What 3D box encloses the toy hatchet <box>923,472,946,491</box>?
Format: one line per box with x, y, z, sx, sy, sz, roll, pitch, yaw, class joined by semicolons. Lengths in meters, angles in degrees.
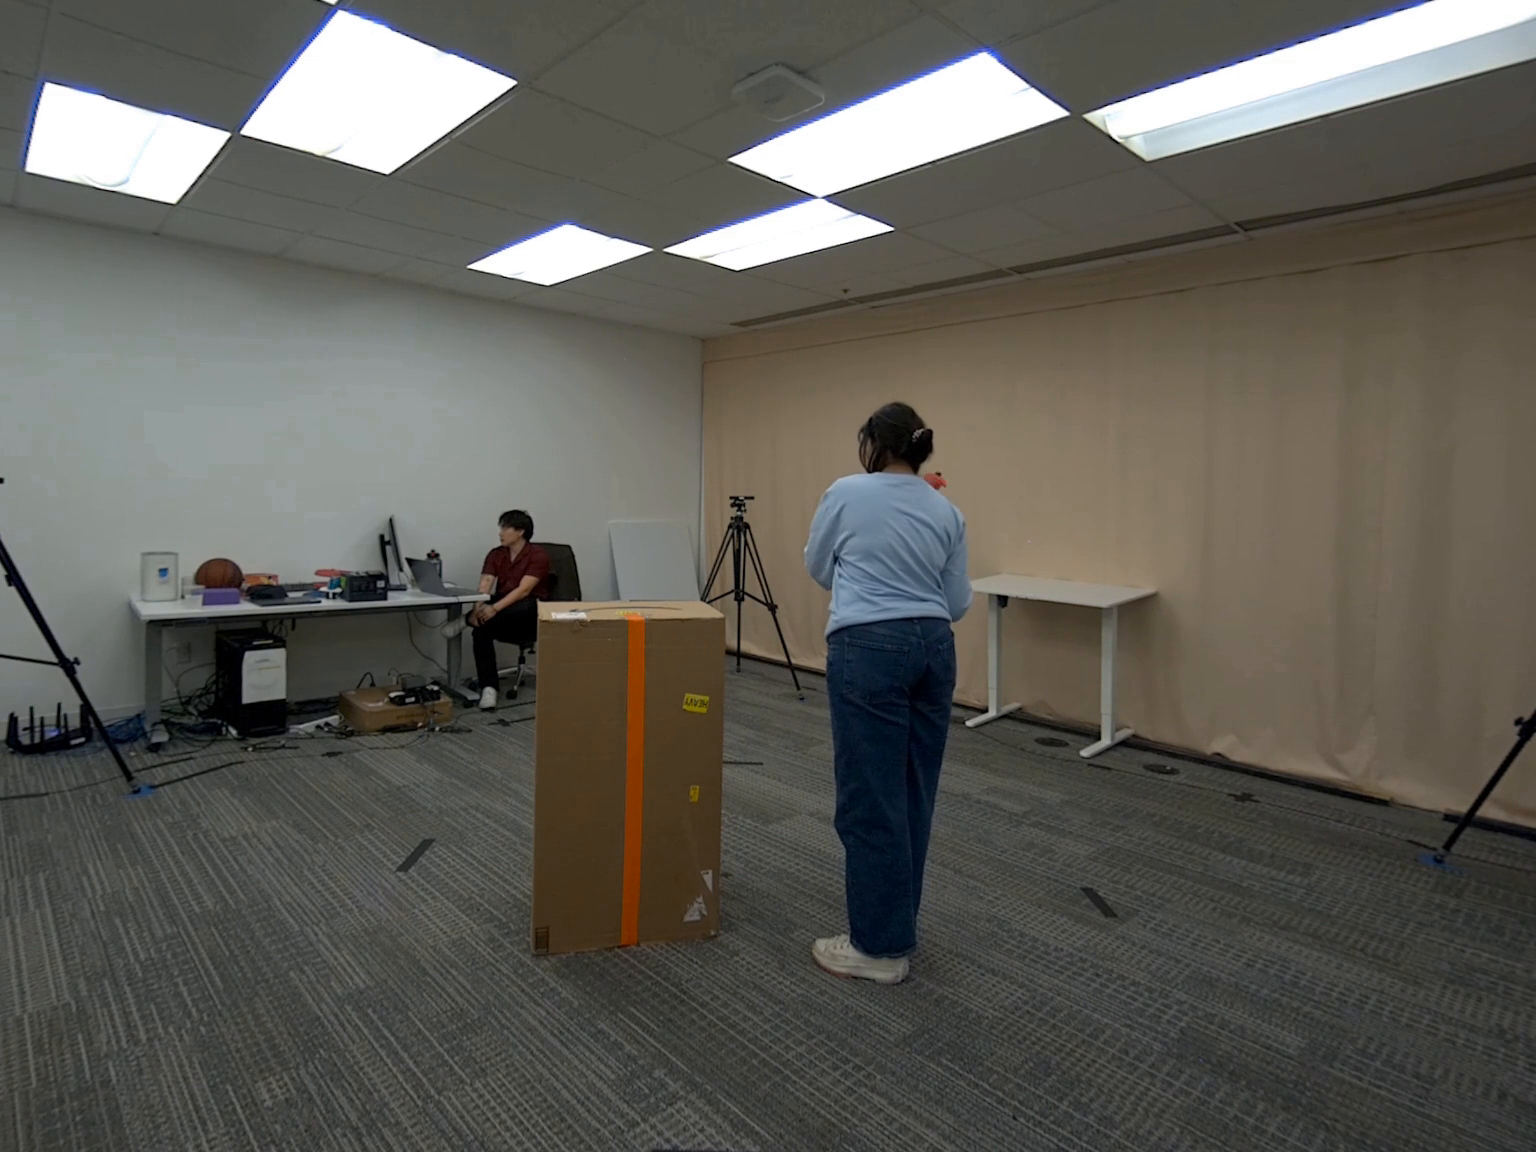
0.499;-0.237;2.796;0.029;0.268;0.134;15;33;-23;toy hatchet
